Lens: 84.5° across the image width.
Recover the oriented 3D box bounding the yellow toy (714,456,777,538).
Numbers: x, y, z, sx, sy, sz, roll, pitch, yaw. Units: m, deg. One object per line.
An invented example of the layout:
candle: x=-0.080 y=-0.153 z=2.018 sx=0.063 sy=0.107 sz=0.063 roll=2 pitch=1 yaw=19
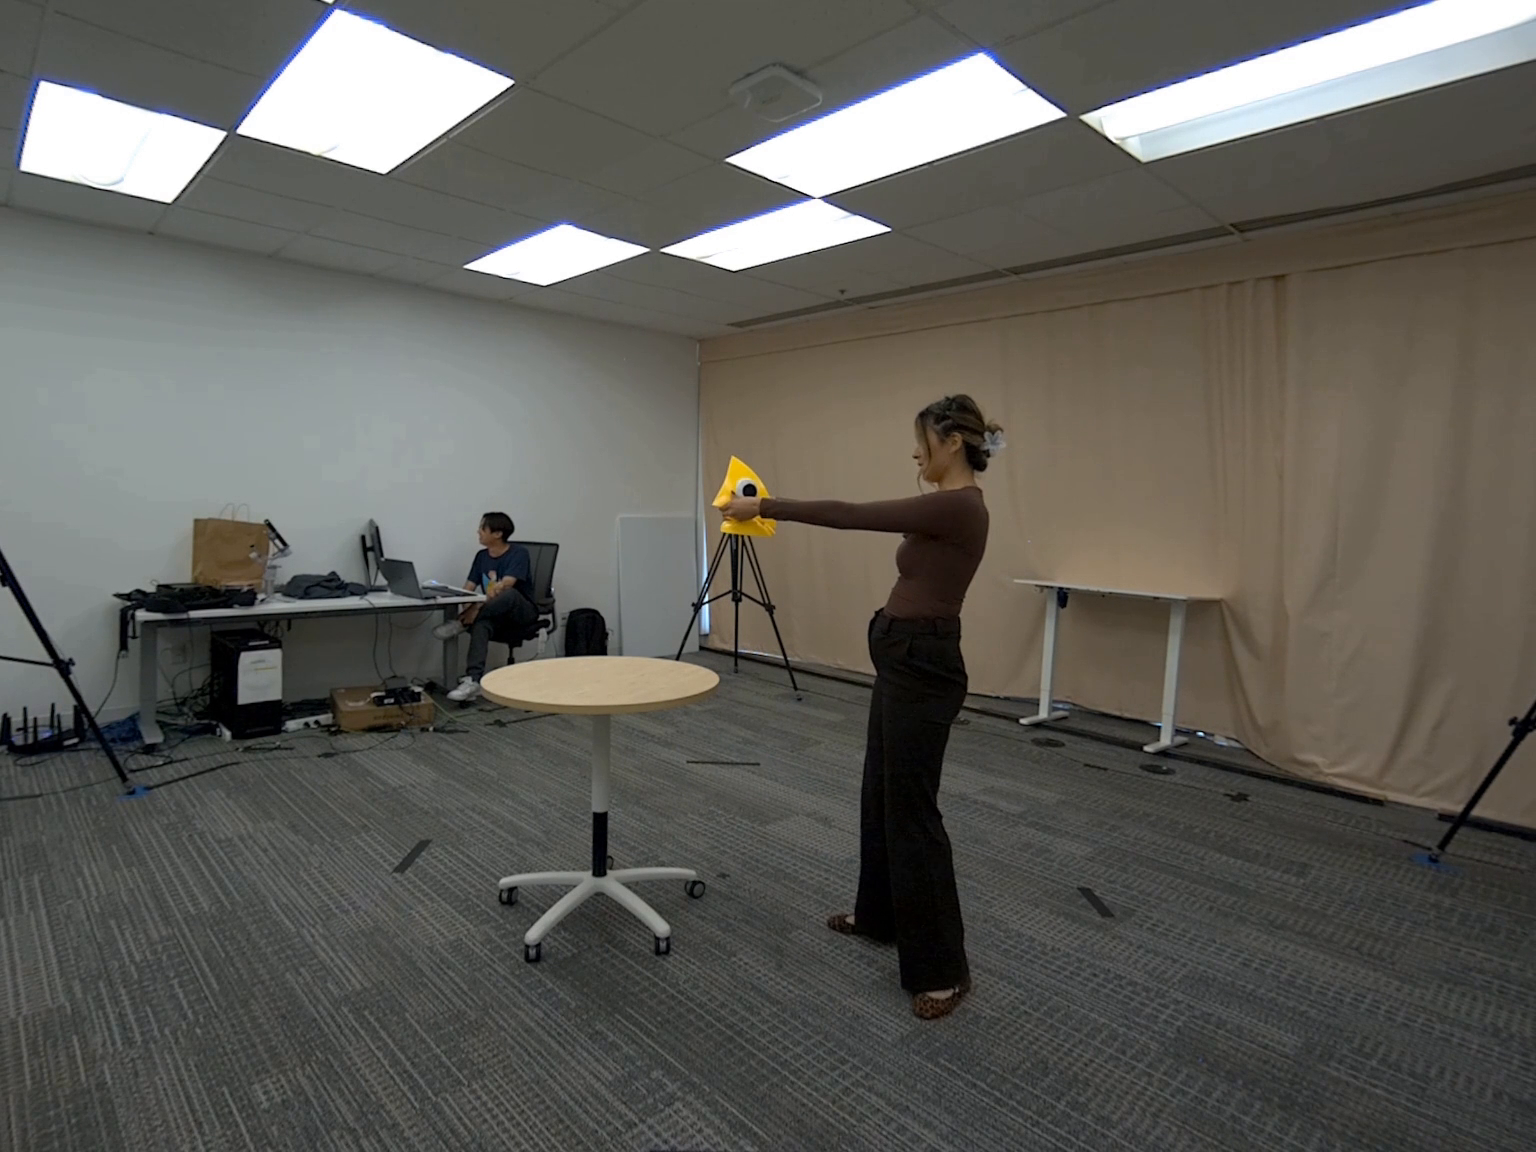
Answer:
yellow toy: x=-0.066 y=-0.248 z=2.585 sx=0.194 sy=0.230 sz=0.204 roll=5 pitch=5 yaw=8
